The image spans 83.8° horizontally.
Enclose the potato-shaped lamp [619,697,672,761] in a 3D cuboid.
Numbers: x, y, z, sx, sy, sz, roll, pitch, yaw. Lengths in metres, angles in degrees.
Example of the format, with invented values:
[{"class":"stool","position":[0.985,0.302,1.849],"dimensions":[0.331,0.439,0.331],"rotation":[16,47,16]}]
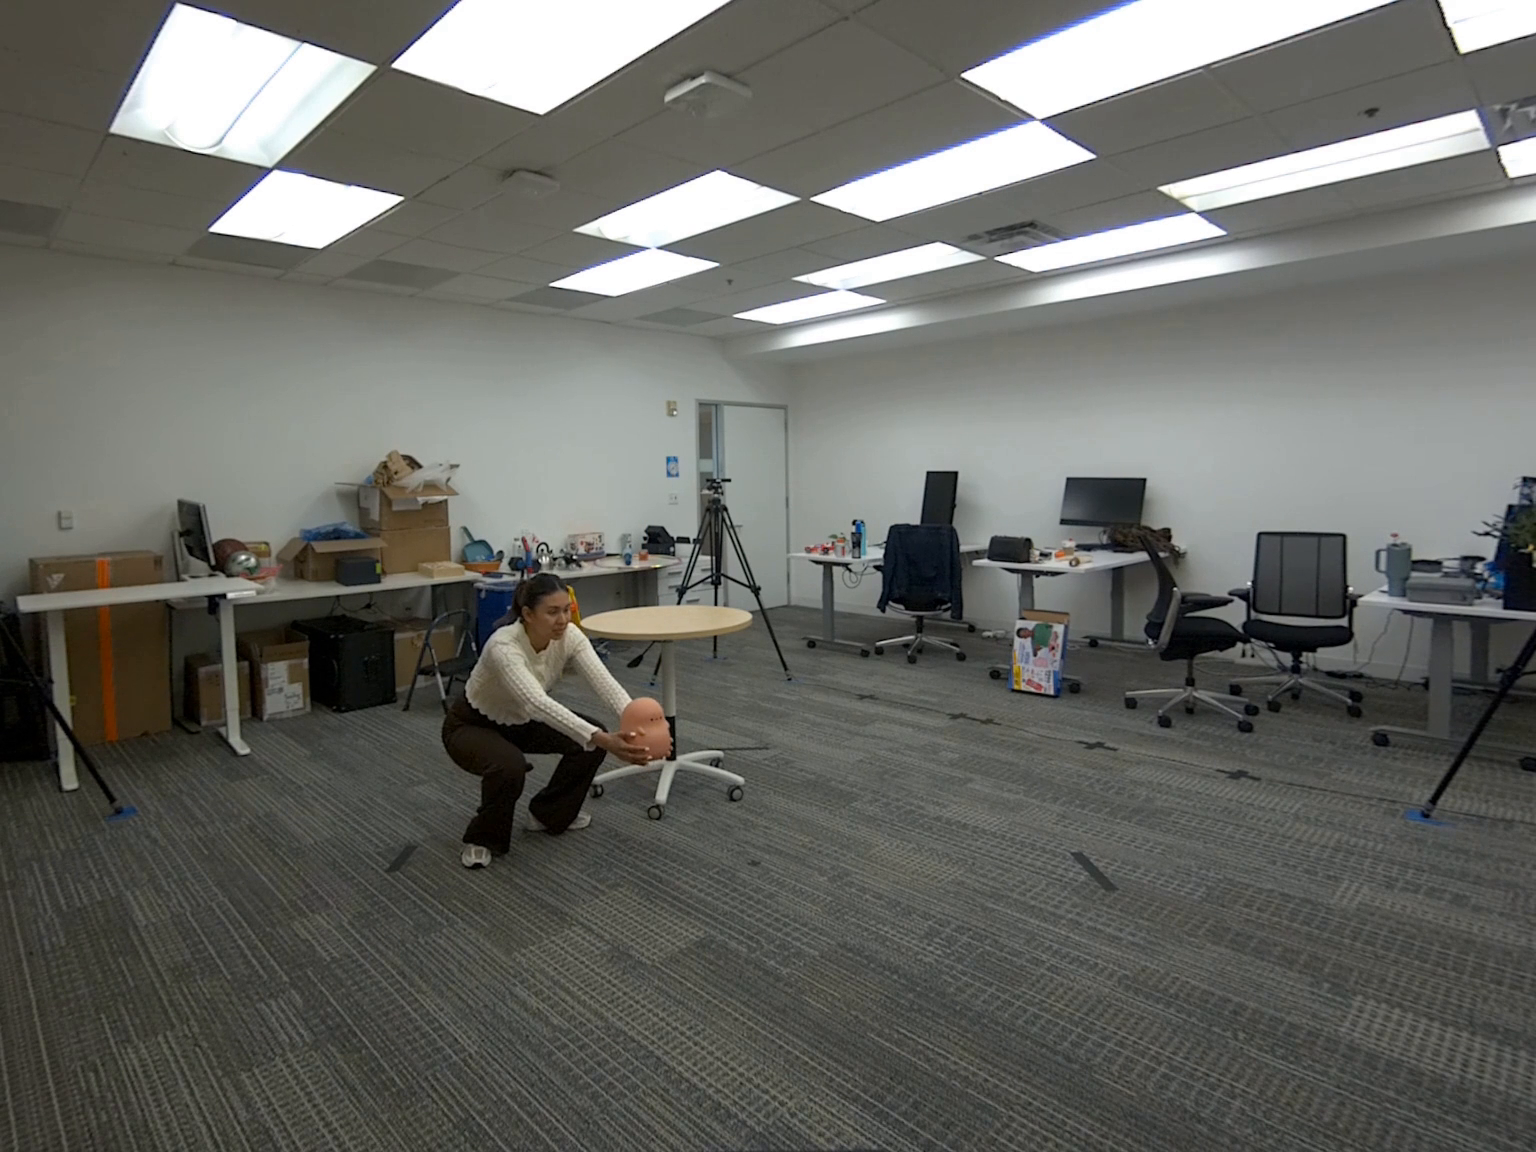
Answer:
[{"class":"potato-shaped lamp","position":[-0.411,0.507,2.839],"dimensions":[0.177,0.197,0.160],"rotation":[10,7,43]}]
